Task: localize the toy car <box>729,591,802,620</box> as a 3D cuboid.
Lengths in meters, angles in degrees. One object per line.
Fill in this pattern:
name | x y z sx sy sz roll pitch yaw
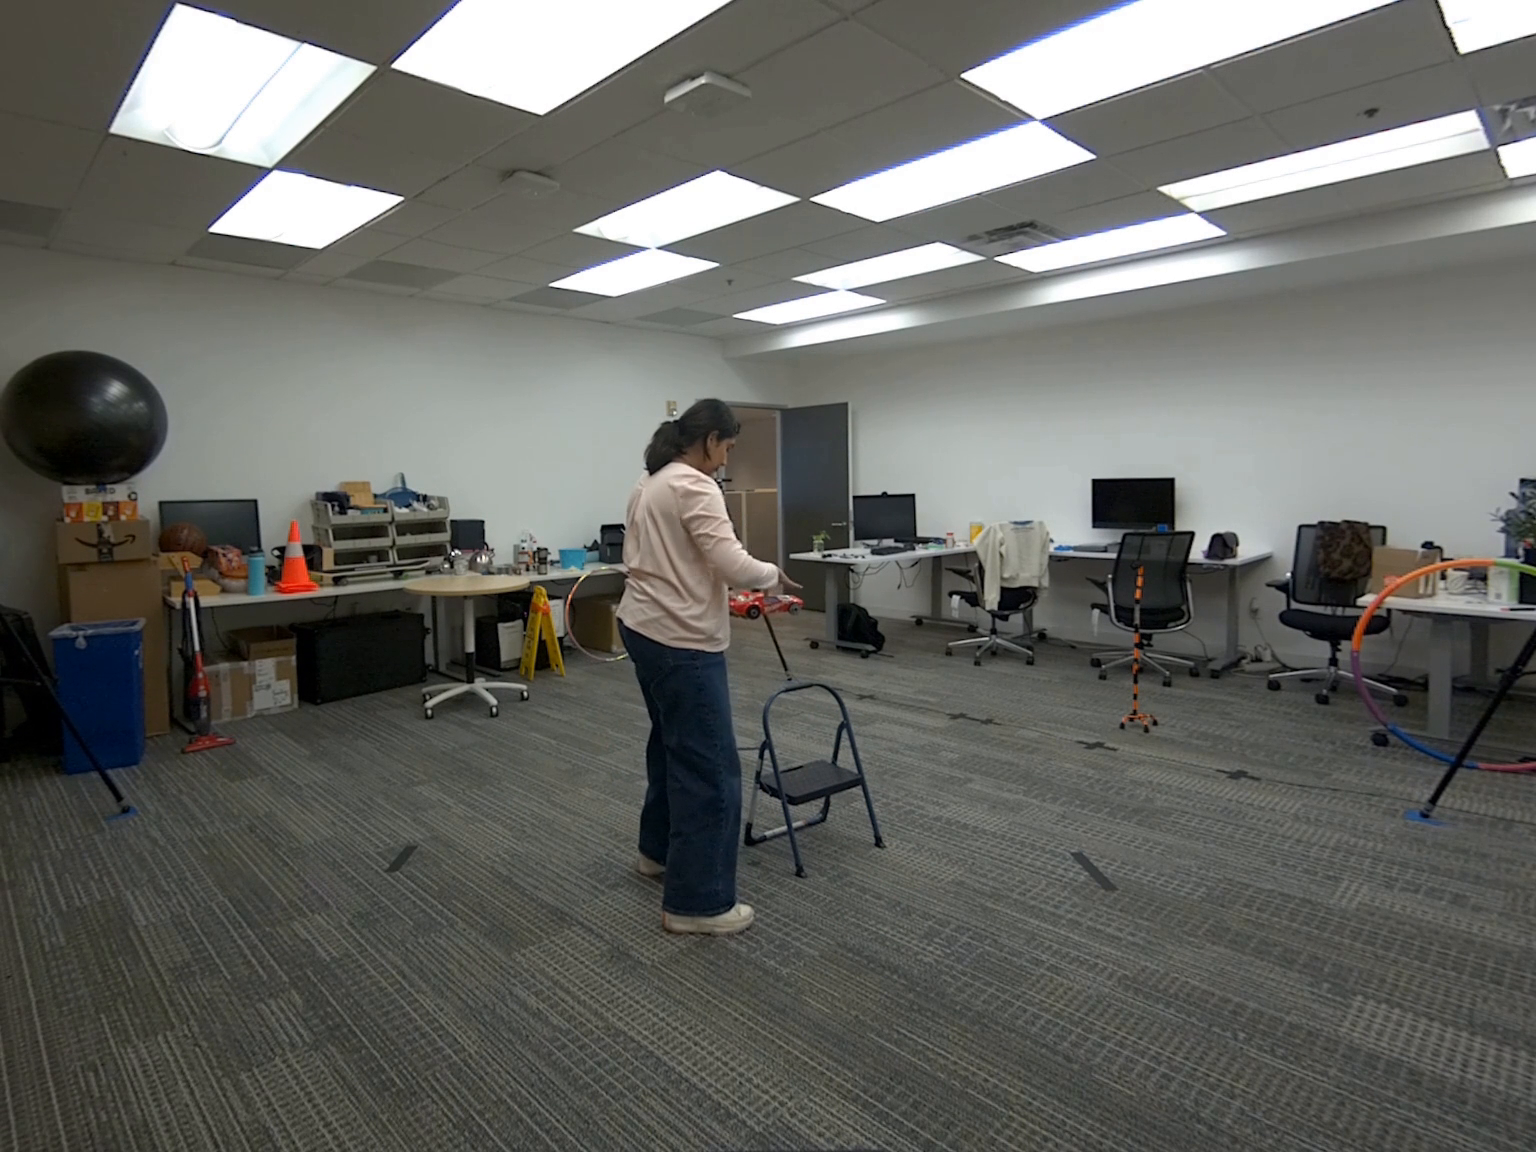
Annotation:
toy car | -0.025 0.100 2.898 0.251 0.083 0.133 6 6 -15
